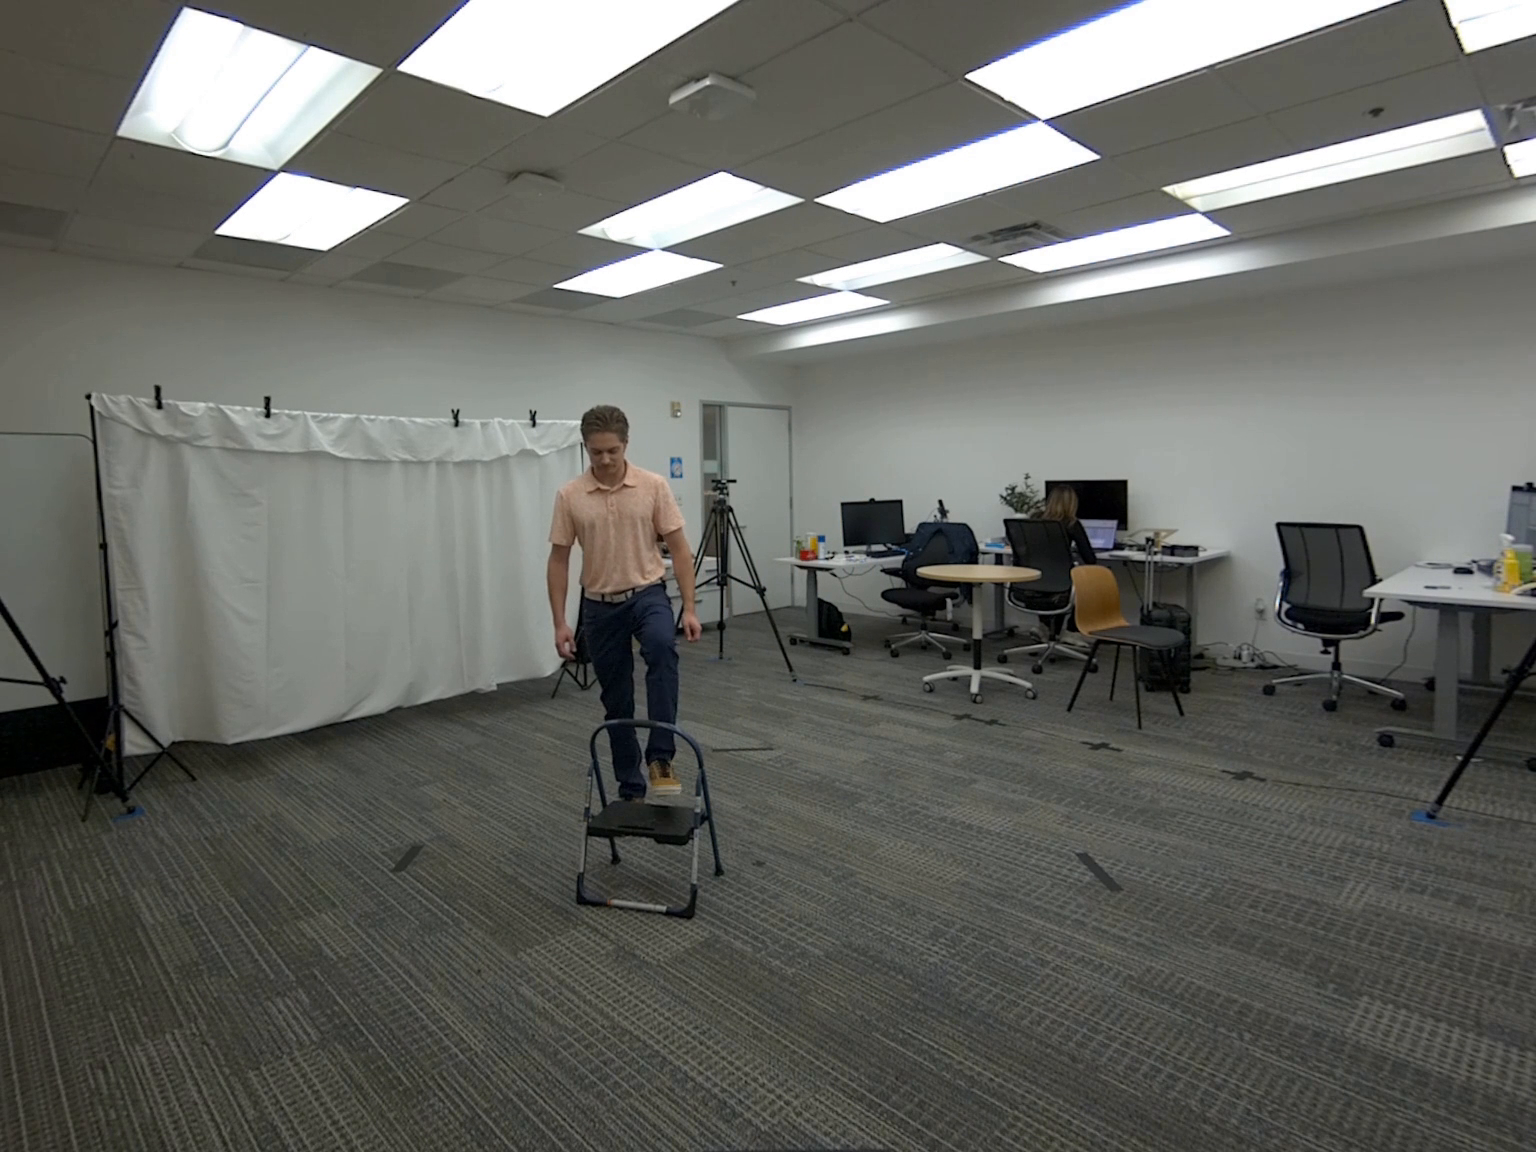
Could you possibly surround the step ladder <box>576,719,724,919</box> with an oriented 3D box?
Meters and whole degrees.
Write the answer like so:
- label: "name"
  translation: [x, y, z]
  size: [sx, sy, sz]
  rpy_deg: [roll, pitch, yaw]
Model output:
- label: "step ladder"
  translation: [-0.404, 0.774, 2.922]
  size: [0.437, 0.604, 0.345]
  rpy_deg: [0, 4, 14]
